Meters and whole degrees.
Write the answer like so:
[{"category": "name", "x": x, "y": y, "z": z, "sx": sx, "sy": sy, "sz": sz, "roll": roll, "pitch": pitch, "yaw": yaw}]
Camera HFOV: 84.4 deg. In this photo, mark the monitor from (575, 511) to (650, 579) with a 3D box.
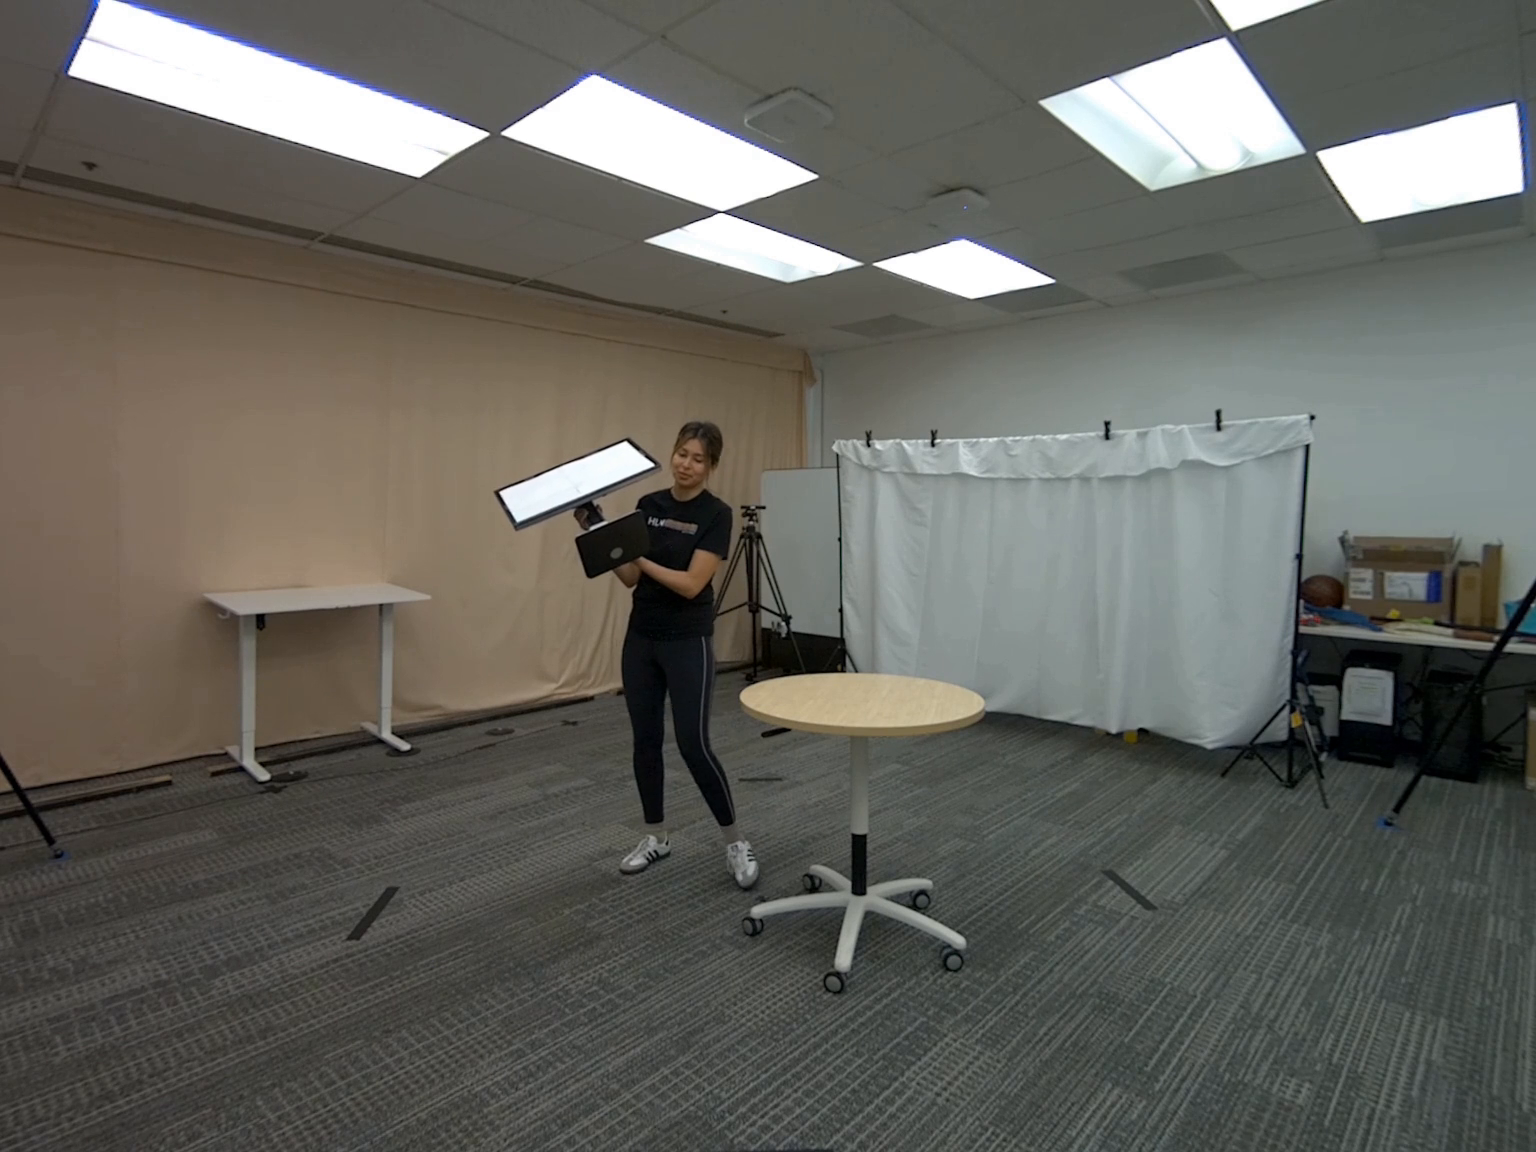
[{"category": "monitor", "x": -0.646, "y": -0.270, "z": 3.025, "sx": 0.533, "sy": 0.183, "sz": 0.541, "roll": -23, "pitch": 47, "yaw": -16}]
